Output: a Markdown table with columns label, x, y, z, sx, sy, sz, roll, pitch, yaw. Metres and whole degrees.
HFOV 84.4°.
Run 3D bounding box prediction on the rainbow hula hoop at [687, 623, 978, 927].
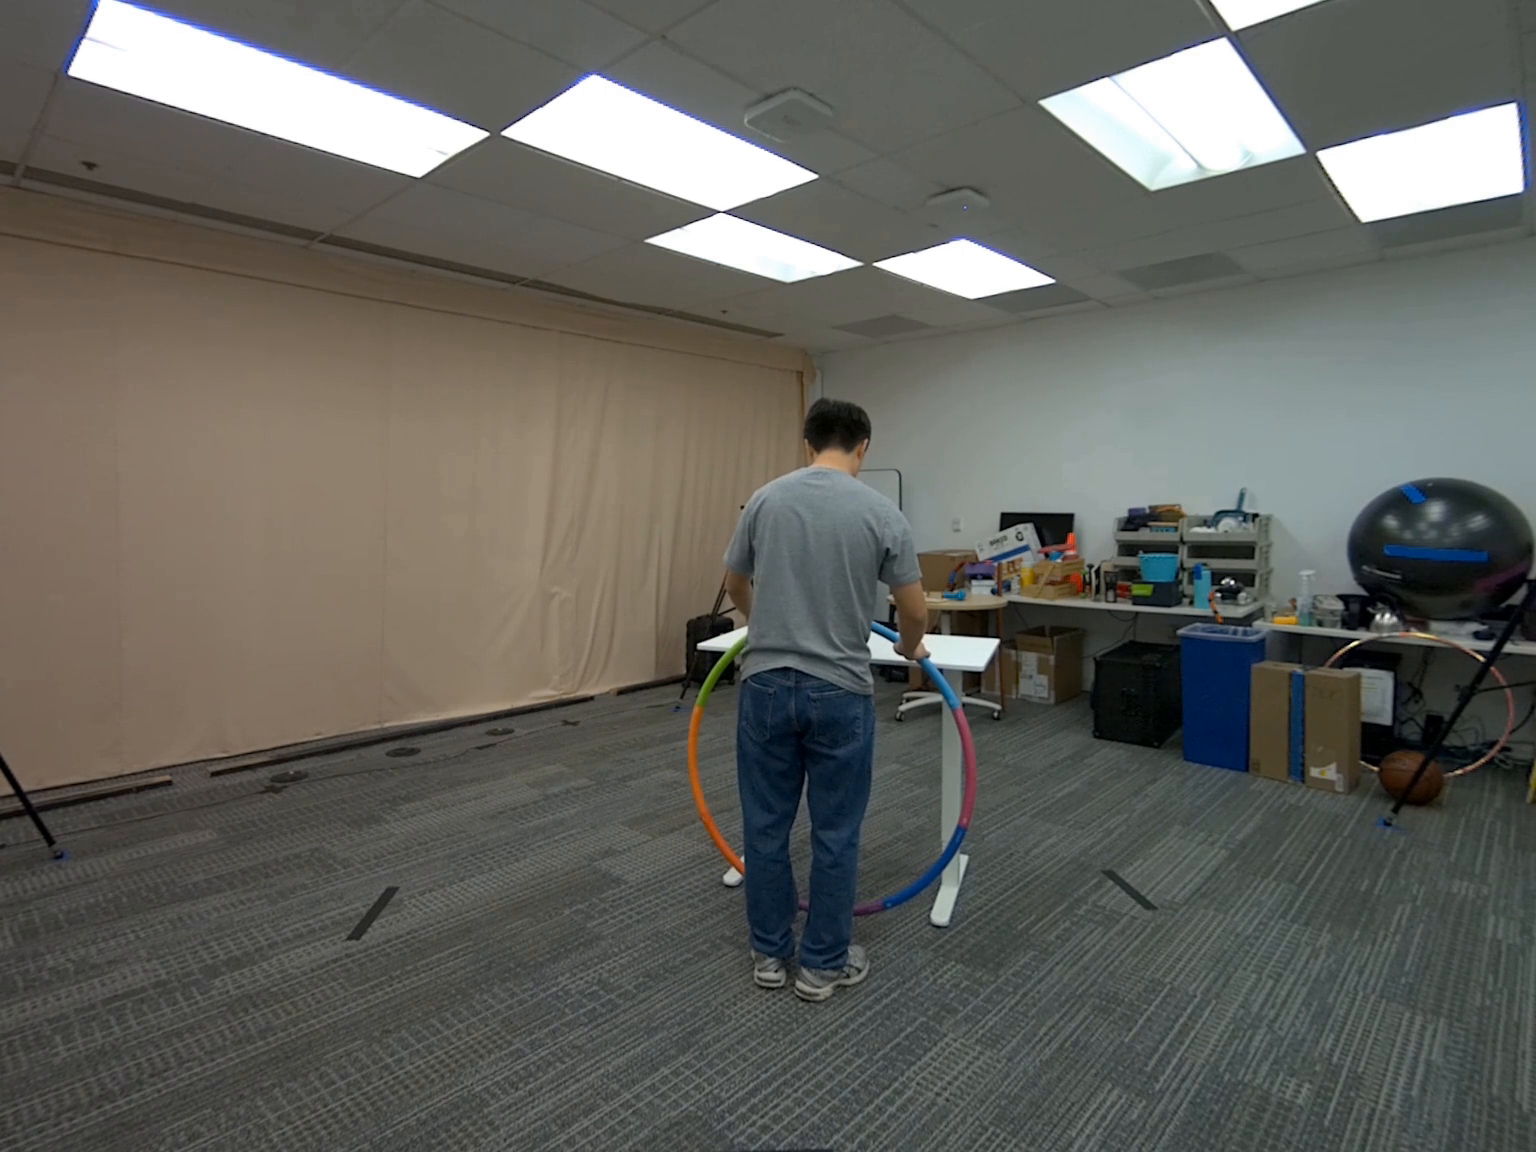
| label | x | y | z | sx | sy | sz | roll | pitch | yaw |
| --- | --- | --- | --- | --- | --- | --- | --- | --- | --- |
| rainbow hula hoop | 0.183 | 0.617 | 2.786 | 1.001 | 0.980 | 0.035 | 1 | -3 | 22 |
